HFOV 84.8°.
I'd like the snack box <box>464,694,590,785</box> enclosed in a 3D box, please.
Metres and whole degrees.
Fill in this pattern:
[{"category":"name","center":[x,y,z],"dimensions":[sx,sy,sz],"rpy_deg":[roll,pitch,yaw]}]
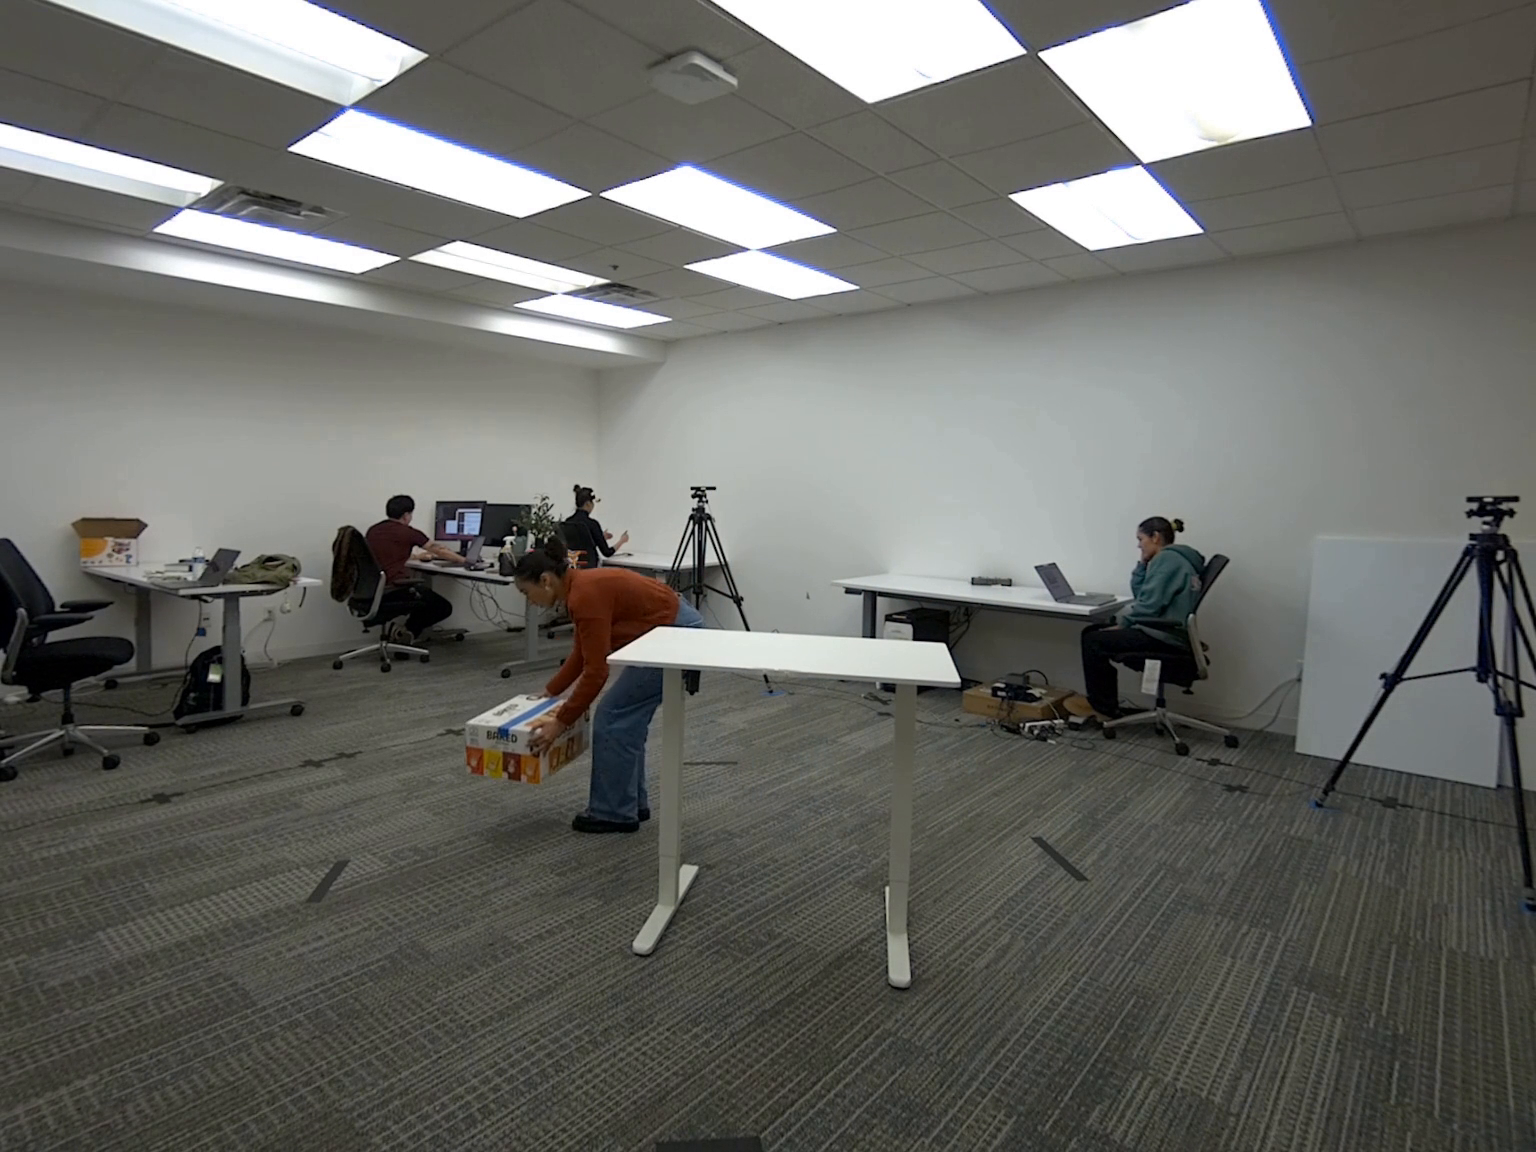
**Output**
[{"category":"snack box","center":[-0.988,0.650,3.479],"dimensions":[0.347,0.204,0.400],"rpy_deg":[3,9,17]}]
